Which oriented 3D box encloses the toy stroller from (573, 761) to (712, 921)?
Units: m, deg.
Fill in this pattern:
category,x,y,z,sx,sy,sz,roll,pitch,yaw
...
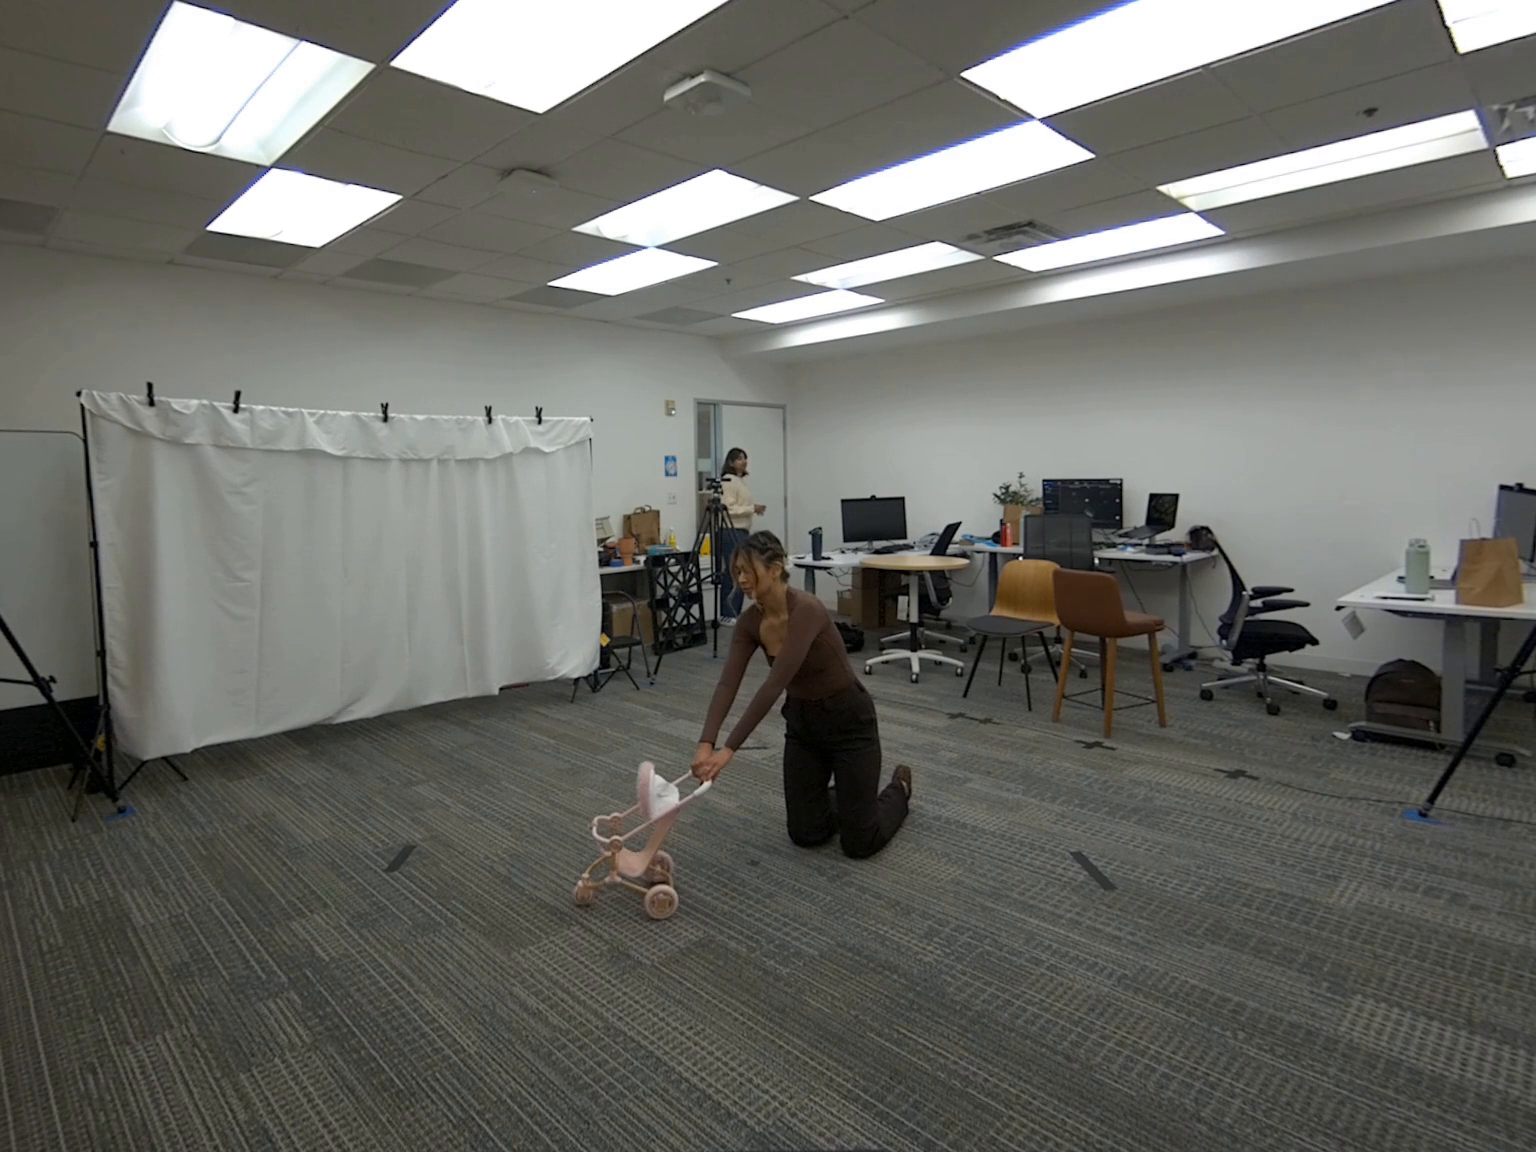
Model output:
category,x,y,z,sx,sy,sz,roll,pitch,yaw
toy stroller,-0.413,0.856,2.831,0.340,0.534,0.283,16,3,-4
